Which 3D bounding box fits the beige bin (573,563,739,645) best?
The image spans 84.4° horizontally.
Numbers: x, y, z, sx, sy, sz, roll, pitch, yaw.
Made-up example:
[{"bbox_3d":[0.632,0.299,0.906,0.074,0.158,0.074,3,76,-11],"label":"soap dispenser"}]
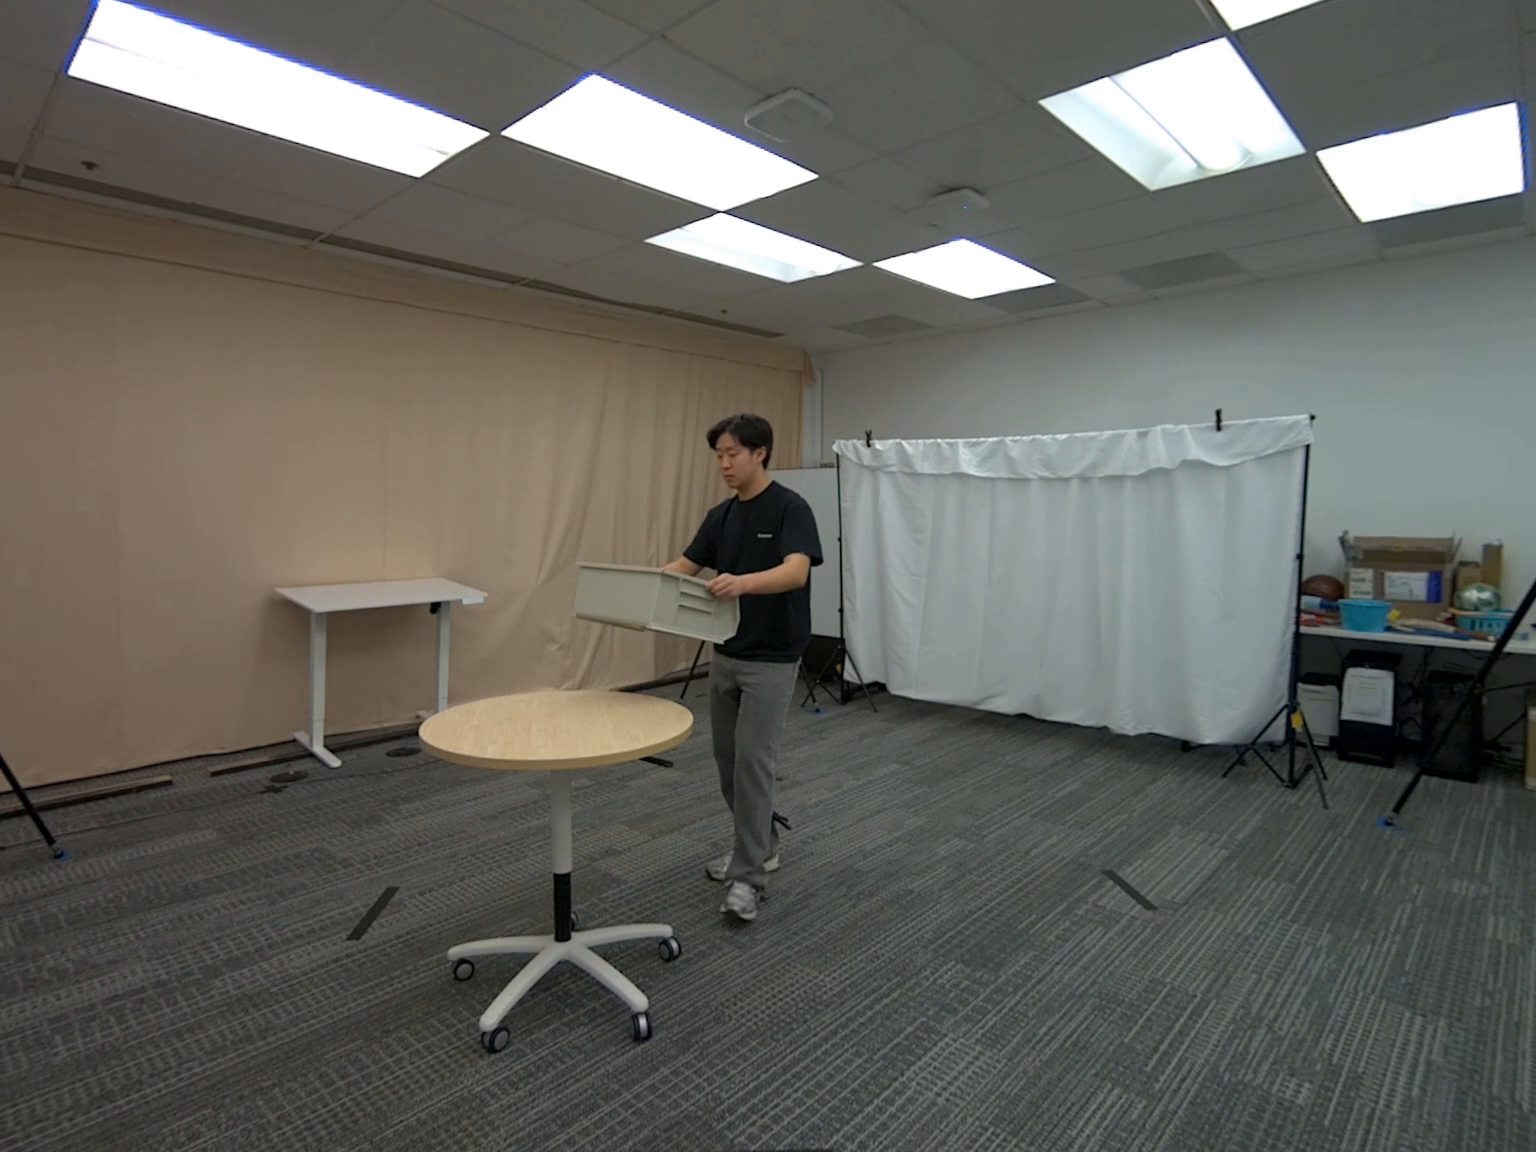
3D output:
[{"bbox_3d":[-0.363,0.099,2.739,0.436,0.189,0.364,5,-7,43],"label":"beige bin"}]
